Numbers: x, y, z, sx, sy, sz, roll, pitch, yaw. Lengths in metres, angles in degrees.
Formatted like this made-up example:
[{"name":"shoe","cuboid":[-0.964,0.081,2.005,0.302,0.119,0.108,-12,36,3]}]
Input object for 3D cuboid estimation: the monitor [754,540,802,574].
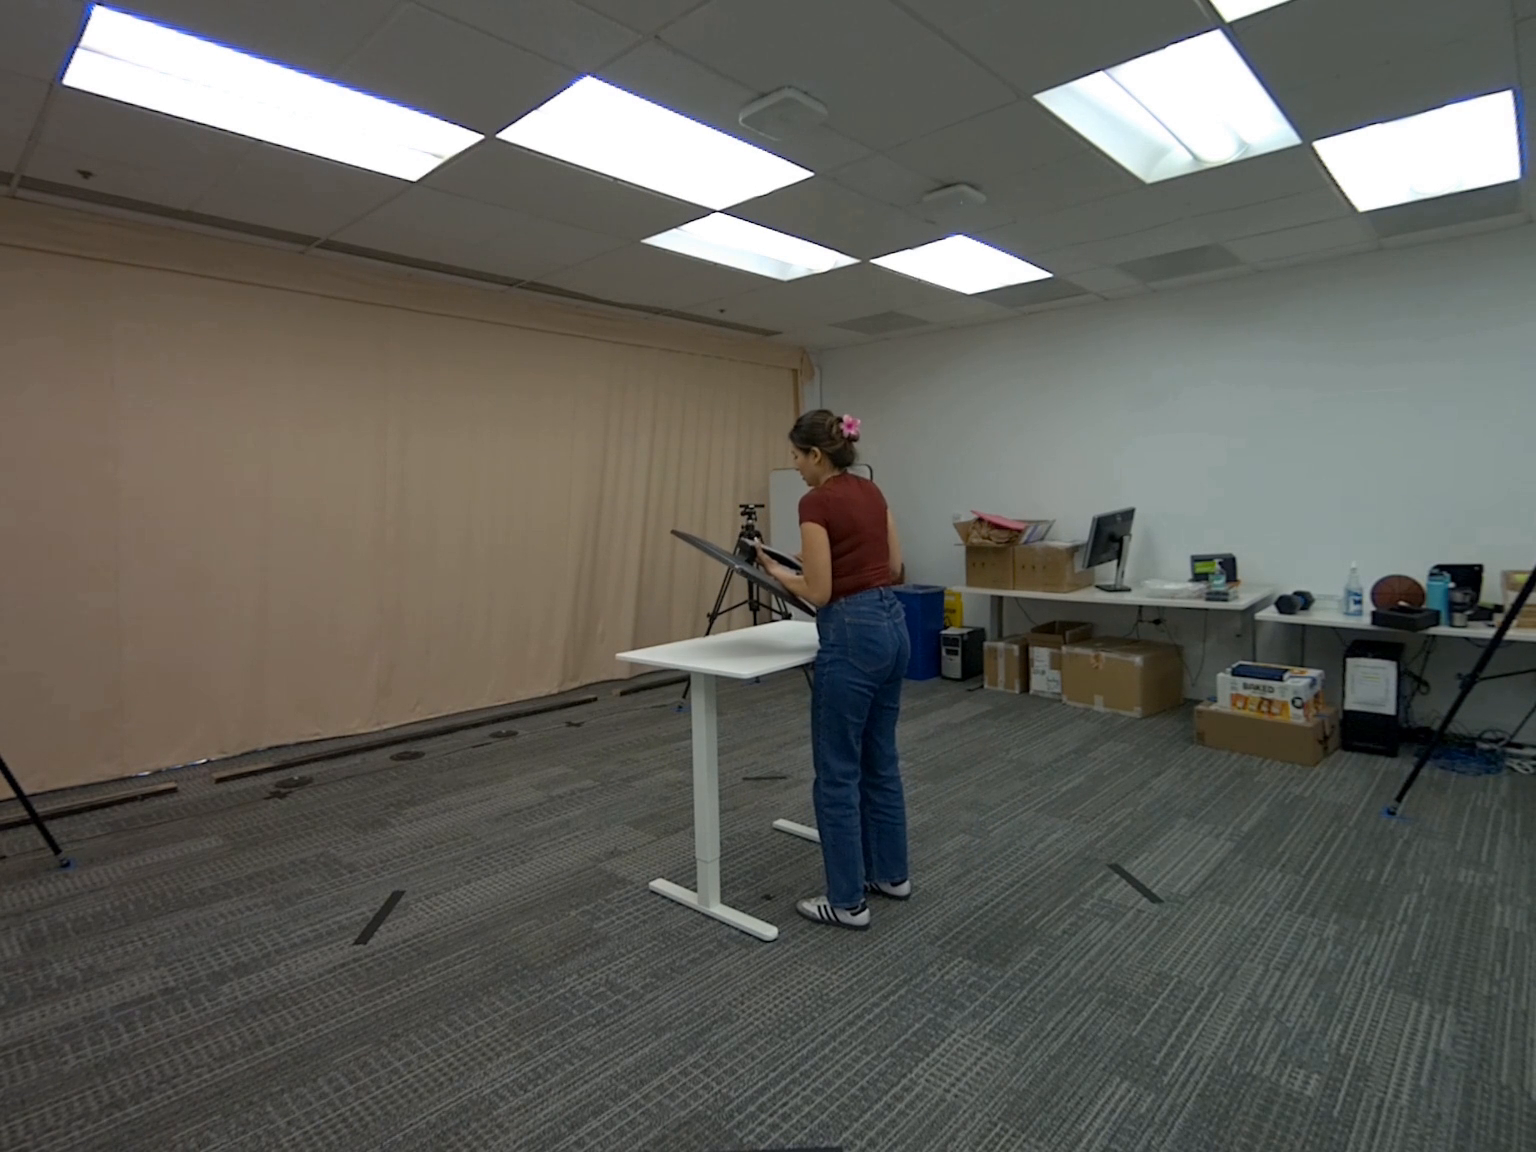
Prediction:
[{"name":"monitor","cuboid":[-0.013,-0.020,2.982,0.506,0.187,0.557,14,8,-32]}]
